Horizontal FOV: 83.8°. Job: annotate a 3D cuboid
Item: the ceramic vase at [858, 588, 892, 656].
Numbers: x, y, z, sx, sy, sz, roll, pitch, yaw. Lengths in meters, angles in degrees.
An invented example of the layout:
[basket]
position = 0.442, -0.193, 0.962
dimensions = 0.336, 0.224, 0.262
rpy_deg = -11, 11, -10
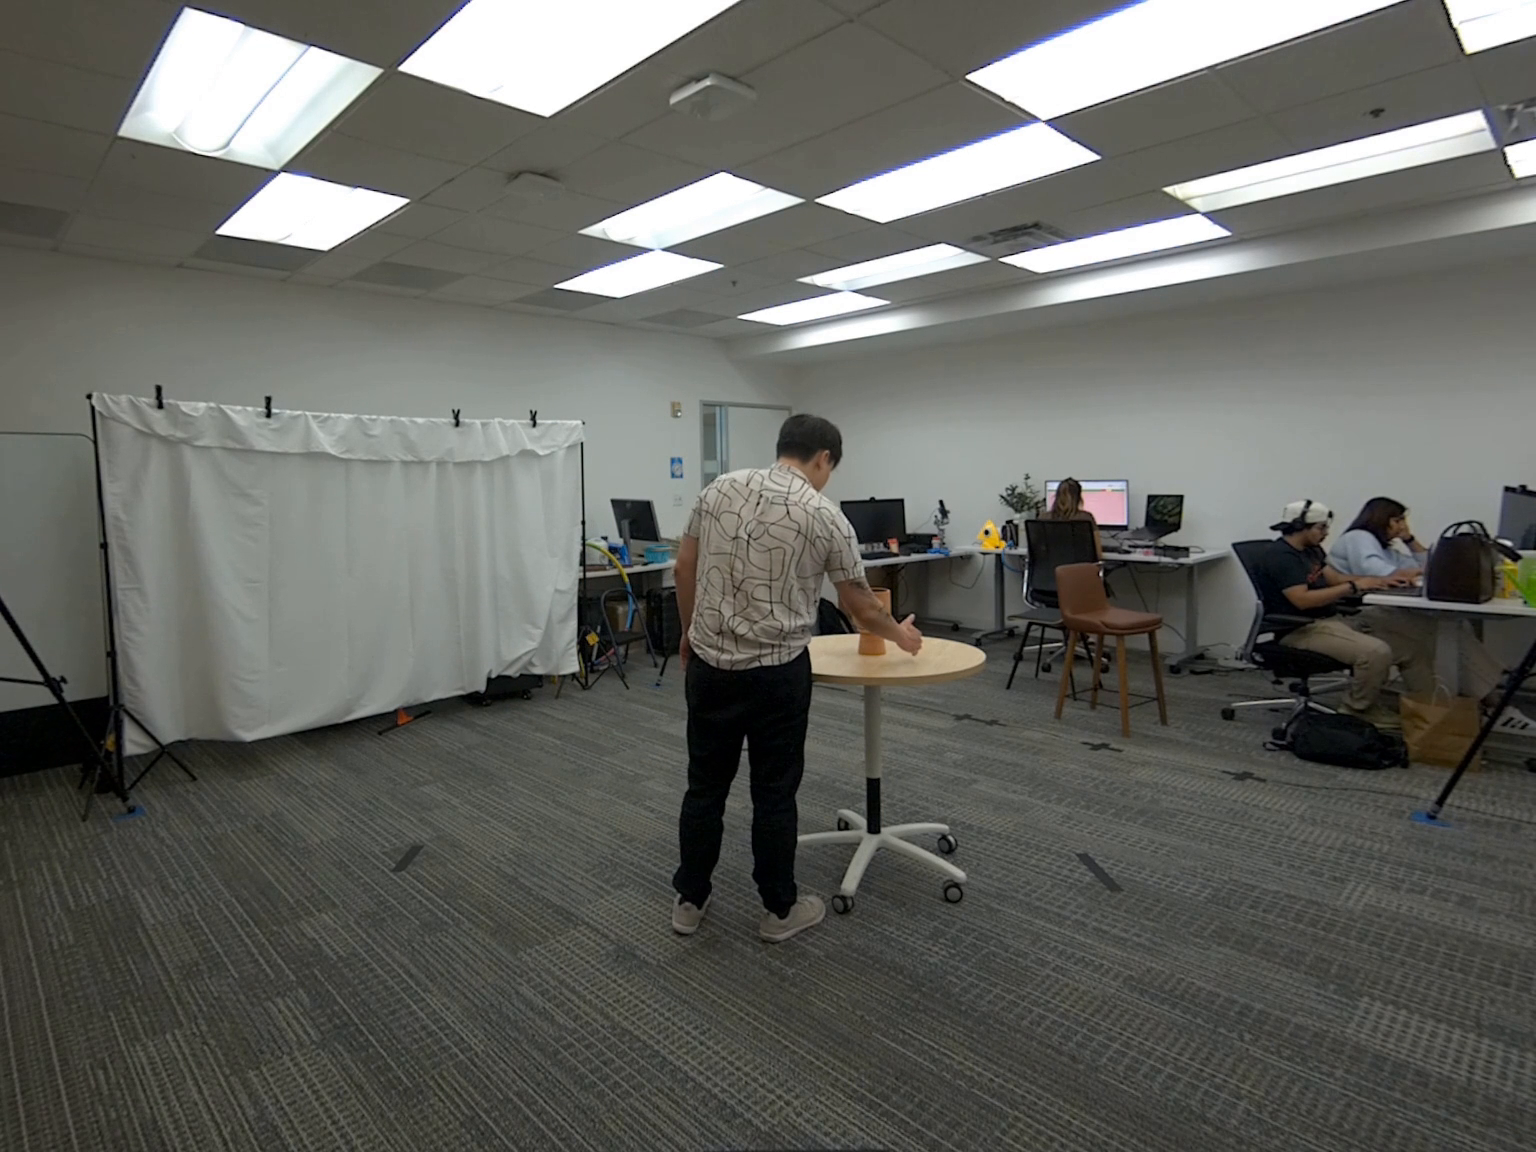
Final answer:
[ceramic vase]
position = 0.375, 0.161, 2.995
dimensions = 0.155, 0.219, 0.138
rpy_deg = -4, 4, -39
